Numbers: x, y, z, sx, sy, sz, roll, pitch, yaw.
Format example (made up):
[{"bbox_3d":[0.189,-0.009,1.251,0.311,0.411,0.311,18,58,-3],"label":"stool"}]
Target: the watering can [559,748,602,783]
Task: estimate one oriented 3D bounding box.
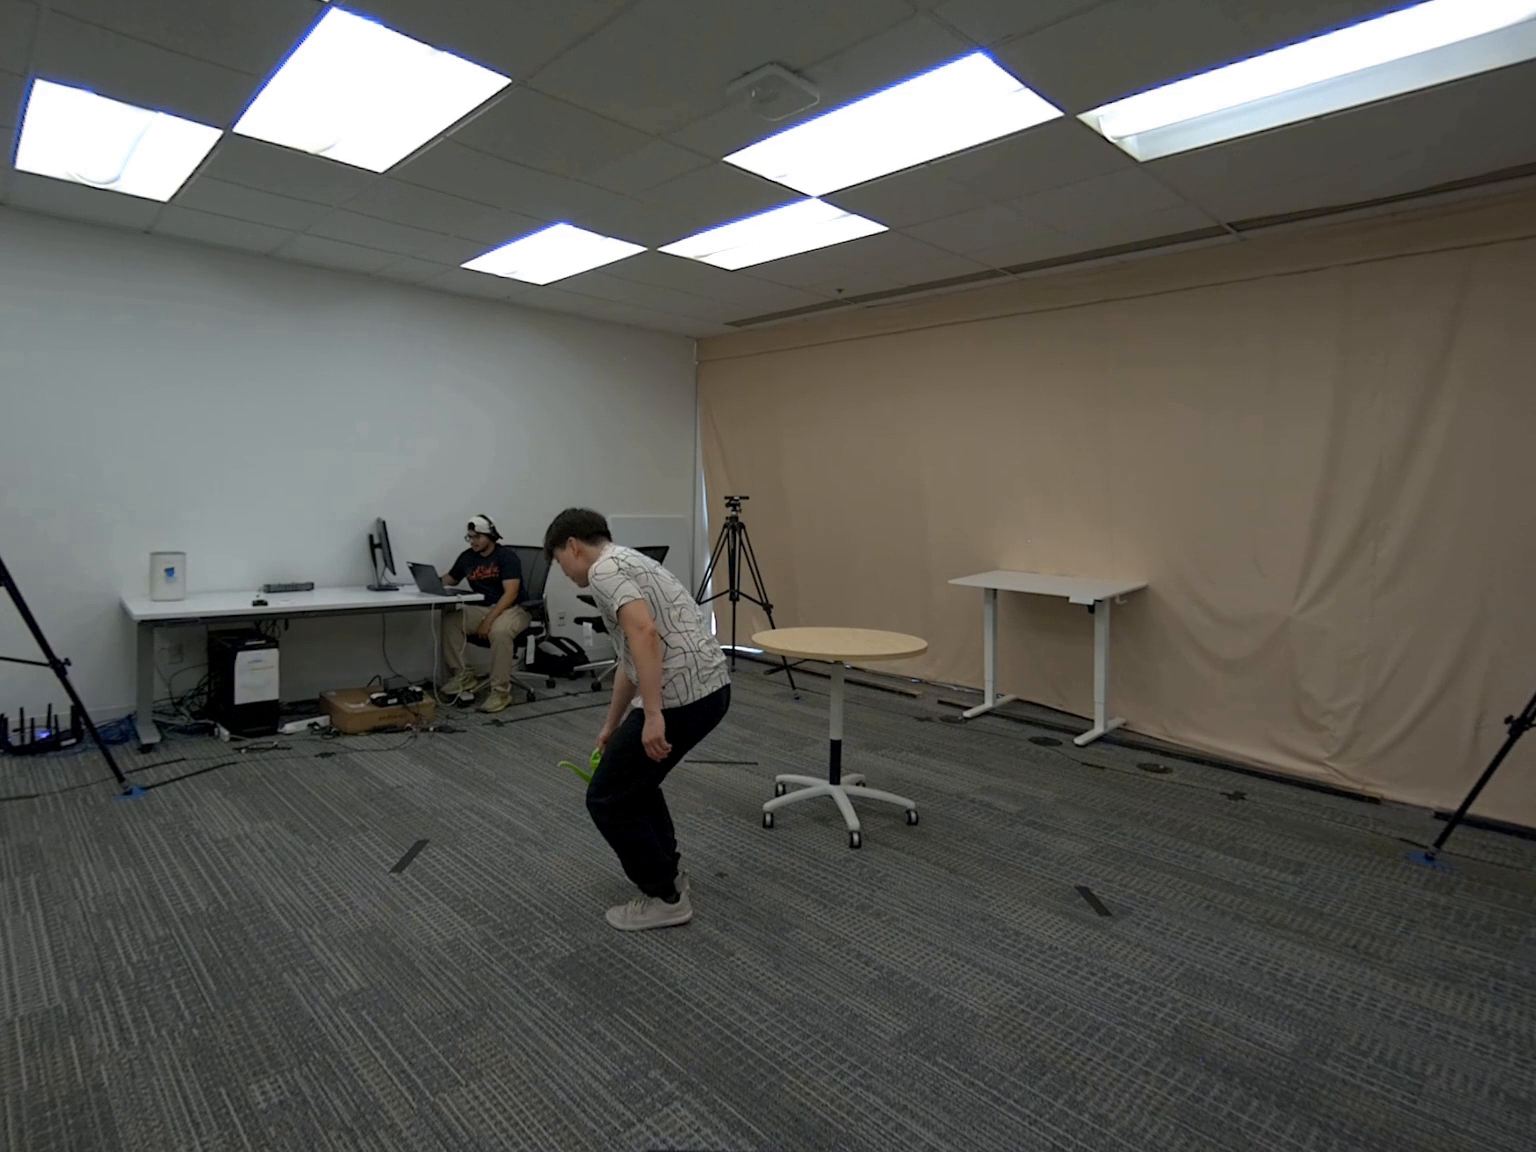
[{"bbox_3d":[-0.634,0.721,3.099,0.274,0.175,0.100,-11,14,-24],"label":"watering can"}]
